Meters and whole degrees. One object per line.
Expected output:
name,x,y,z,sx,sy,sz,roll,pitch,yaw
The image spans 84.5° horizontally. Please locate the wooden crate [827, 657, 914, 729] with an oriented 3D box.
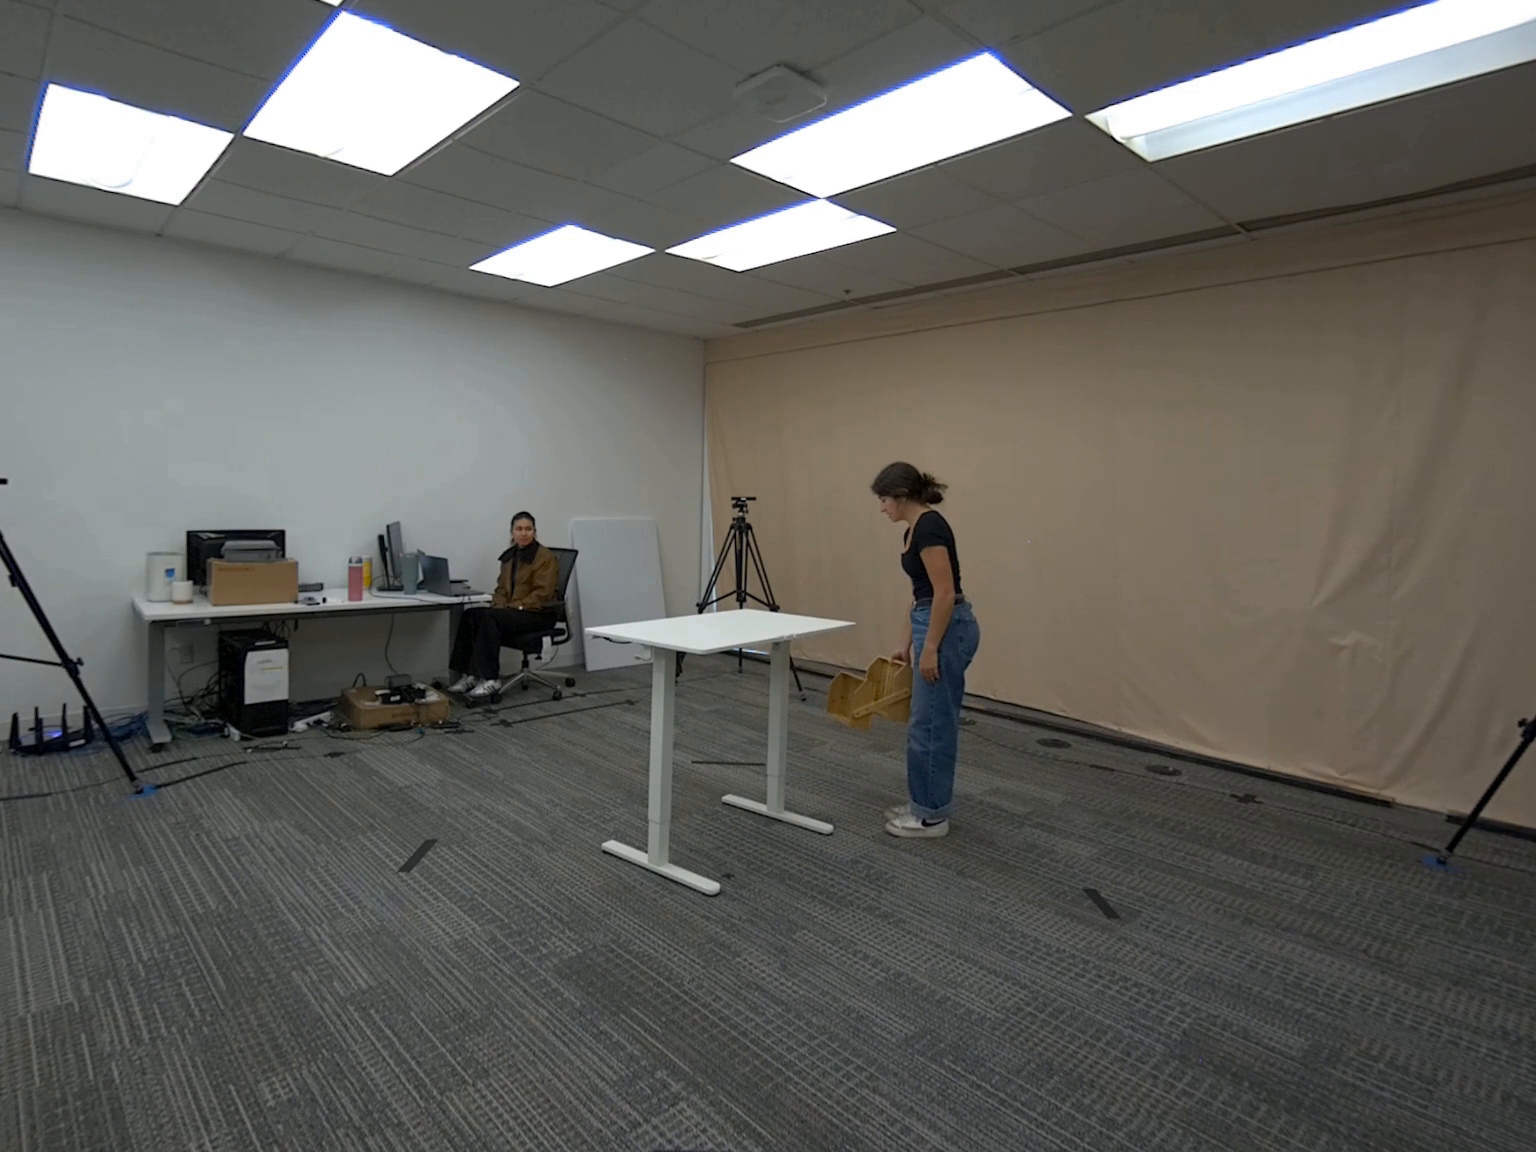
wooden crate,0.434,0.499,3.725,0.270,0.302,0.328,11,-1,-15
